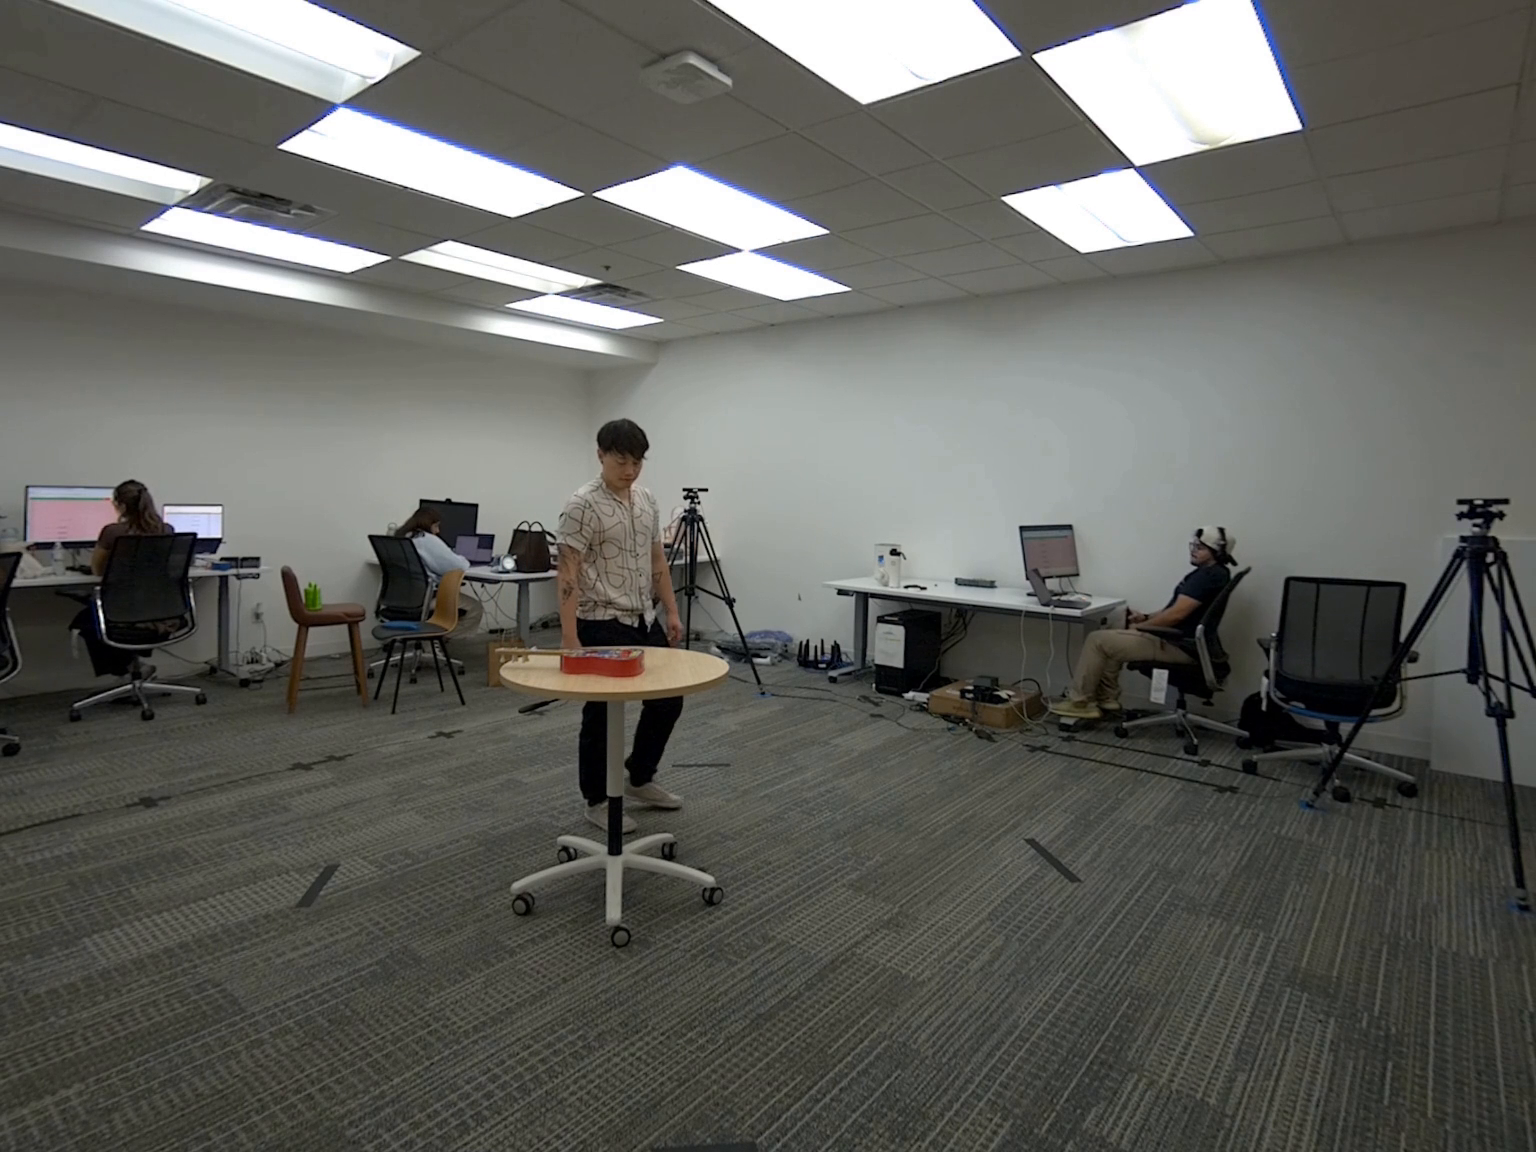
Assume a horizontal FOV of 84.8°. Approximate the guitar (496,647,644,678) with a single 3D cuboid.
[{"bbox_3d":[-0.677,0.272,2.842,0.506,0.070,0.191,3,7,15],"label":"guitar"}]
